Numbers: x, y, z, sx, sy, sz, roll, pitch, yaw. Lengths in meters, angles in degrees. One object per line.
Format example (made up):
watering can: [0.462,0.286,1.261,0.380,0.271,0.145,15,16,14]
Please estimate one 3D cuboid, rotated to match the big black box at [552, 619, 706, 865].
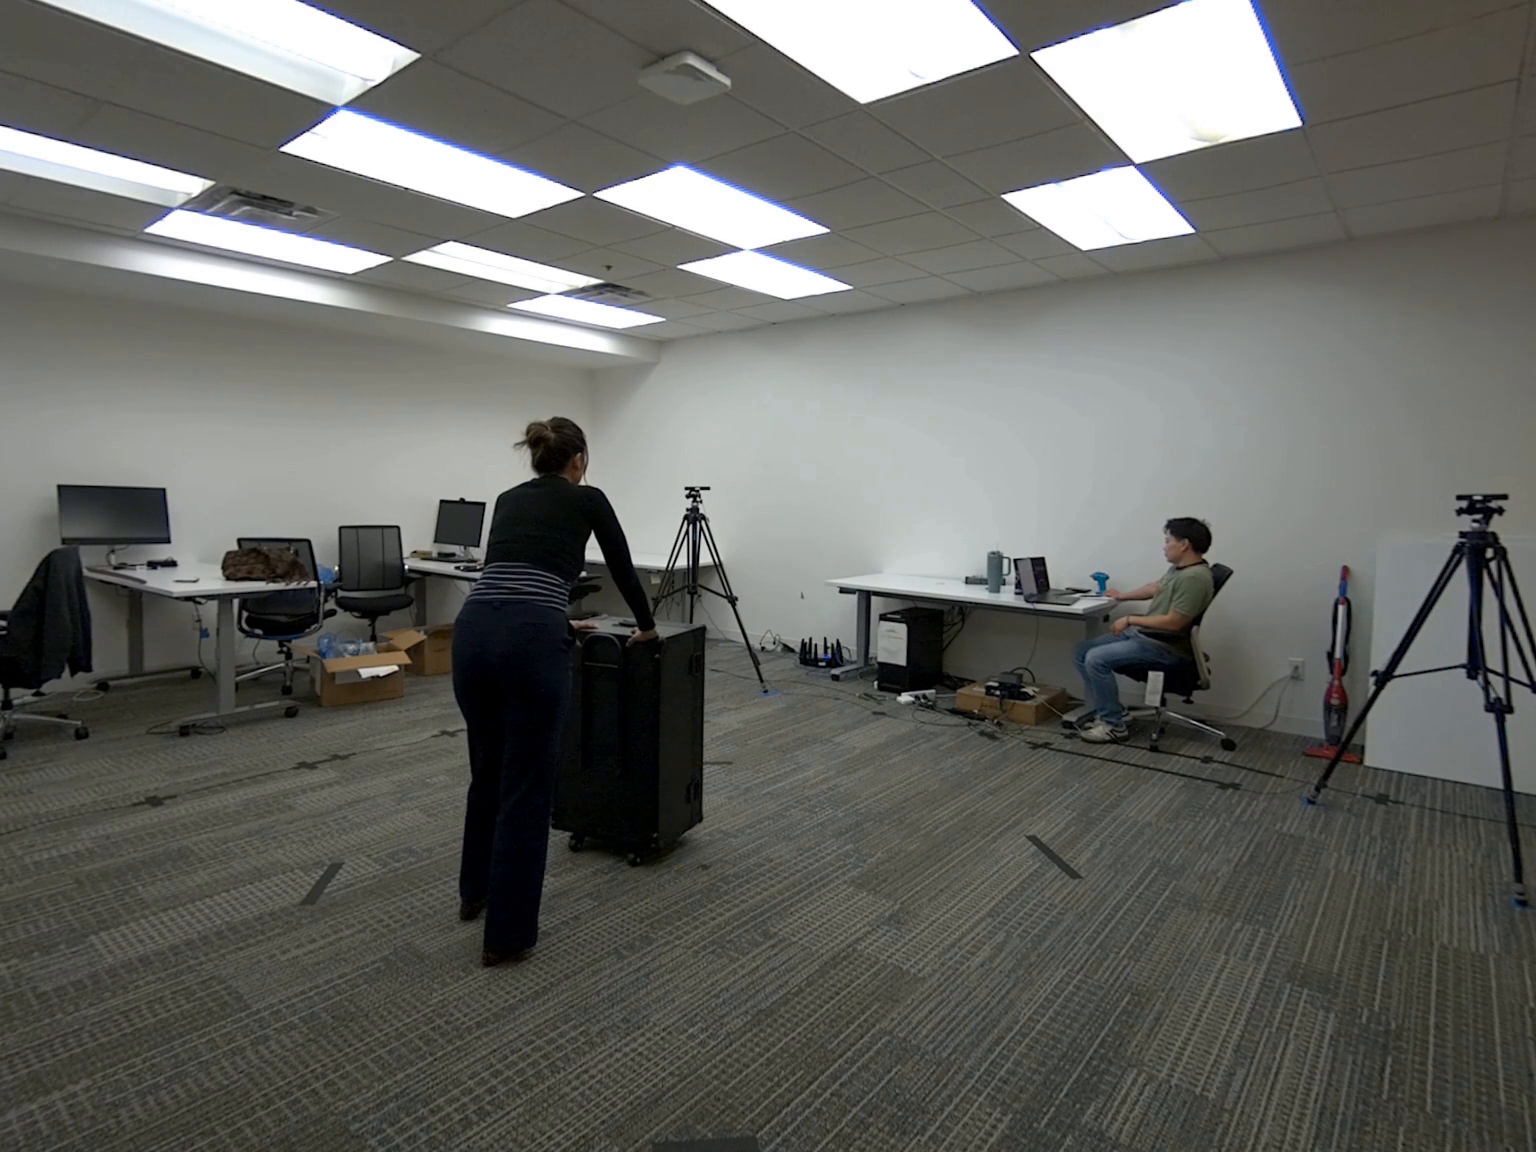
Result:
big black box: [-0.549,0.617,3.293,0.535,0.859,0.387,3,4,26]
